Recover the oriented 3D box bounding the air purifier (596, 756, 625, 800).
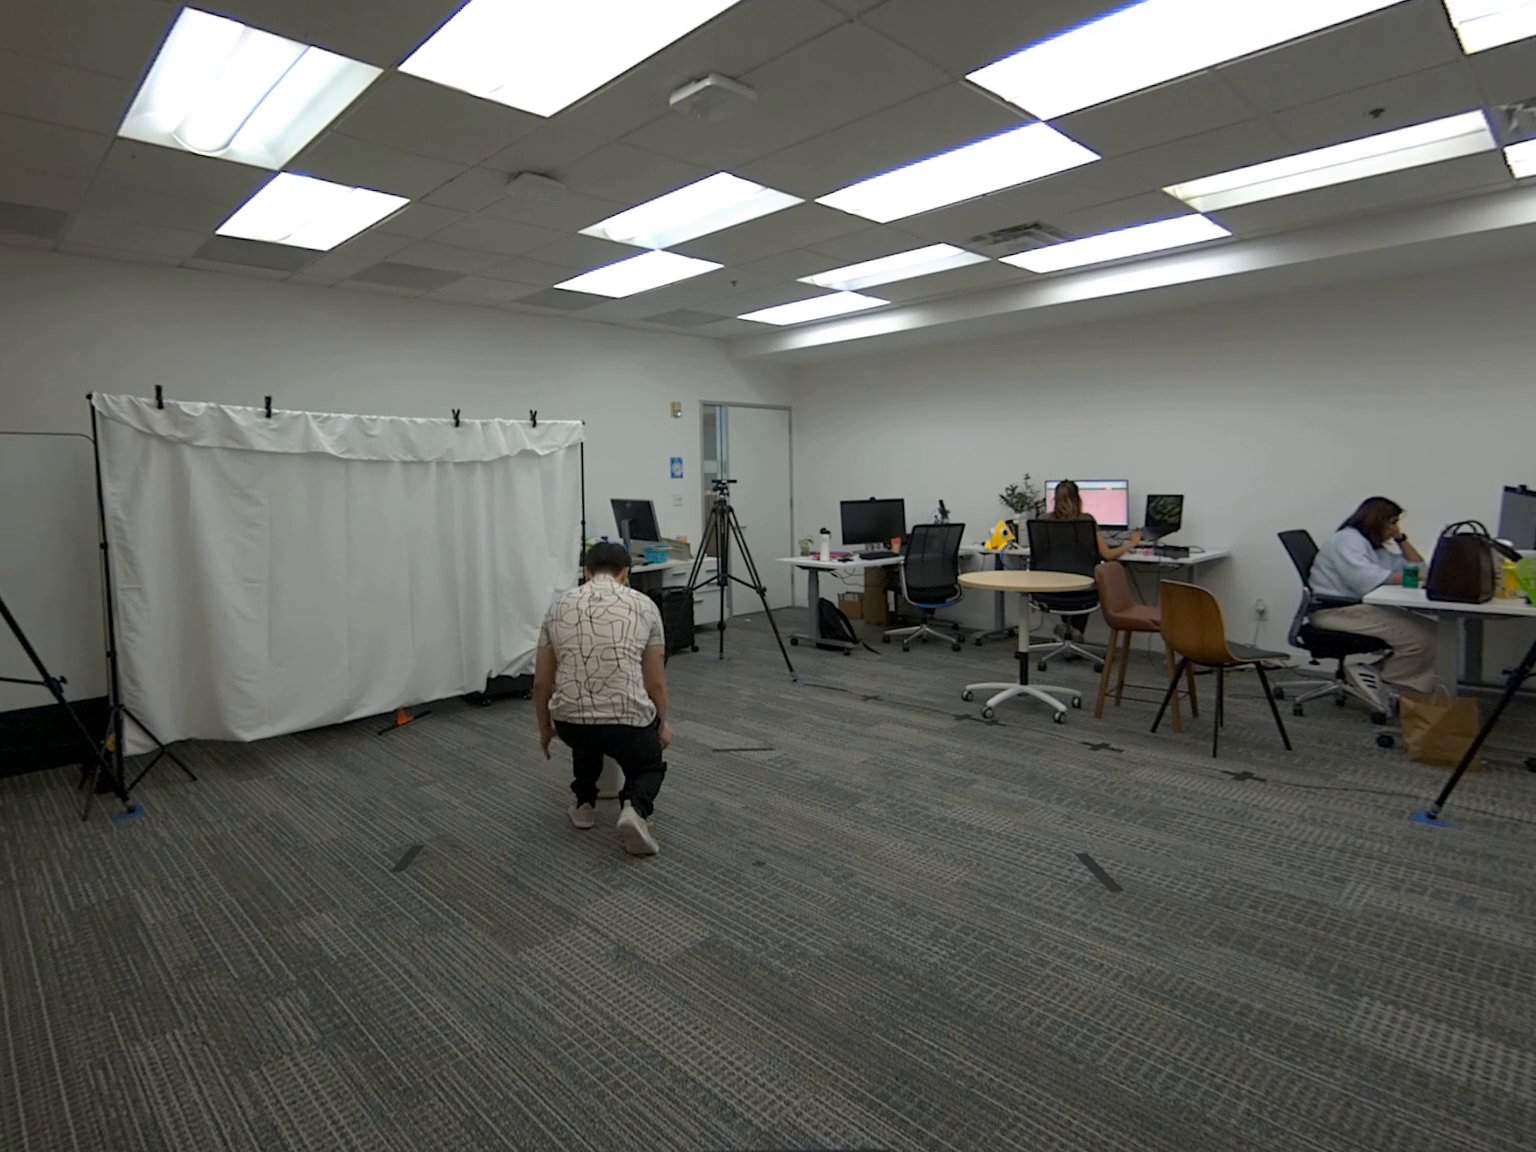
[{"bbox_3d":[-0.718,0.846,3.853,0.171,0.264,0.172,0,4,-2],"label":"air purifier"}]
